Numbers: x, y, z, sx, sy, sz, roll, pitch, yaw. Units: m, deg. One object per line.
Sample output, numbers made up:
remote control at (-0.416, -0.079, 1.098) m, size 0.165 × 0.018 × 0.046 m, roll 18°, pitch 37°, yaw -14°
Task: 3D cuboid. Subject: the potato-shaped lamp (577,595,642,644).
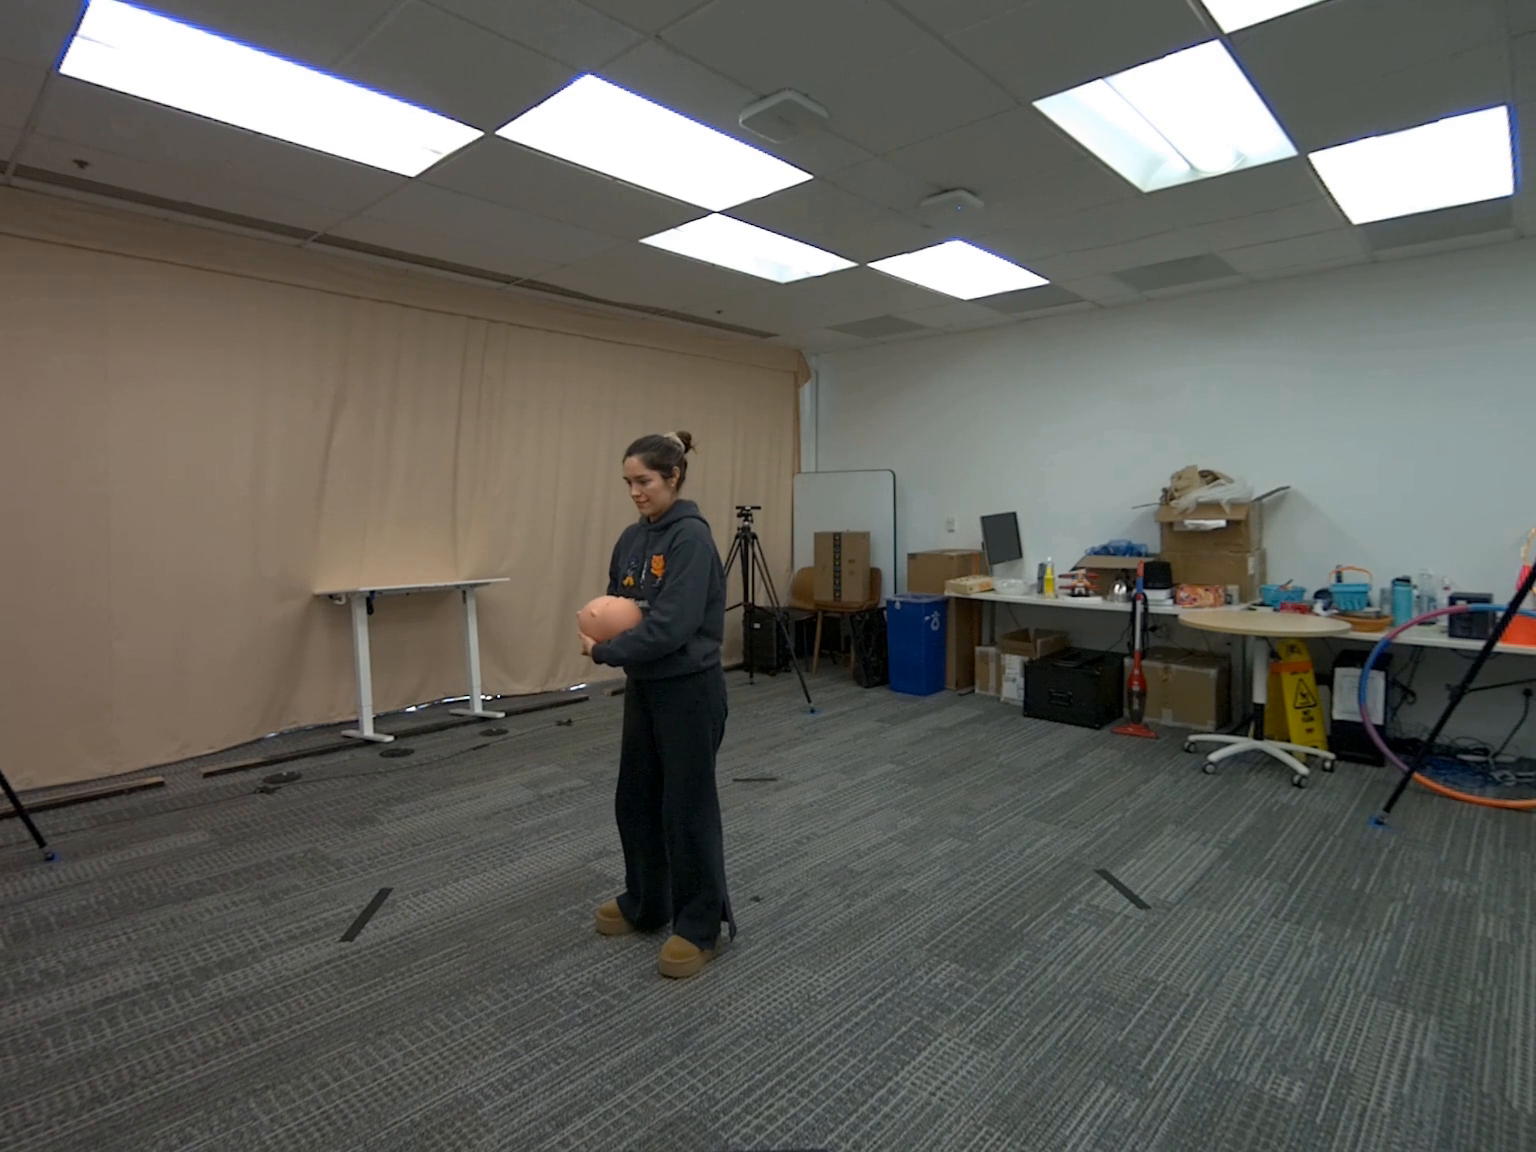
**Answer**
potato-shaped lamp at (-0.458, 0.137, 2.568) m, size 0.203 × 0.171 × 0.161 m, roll -21°, pitch 2°, yaw 45°
